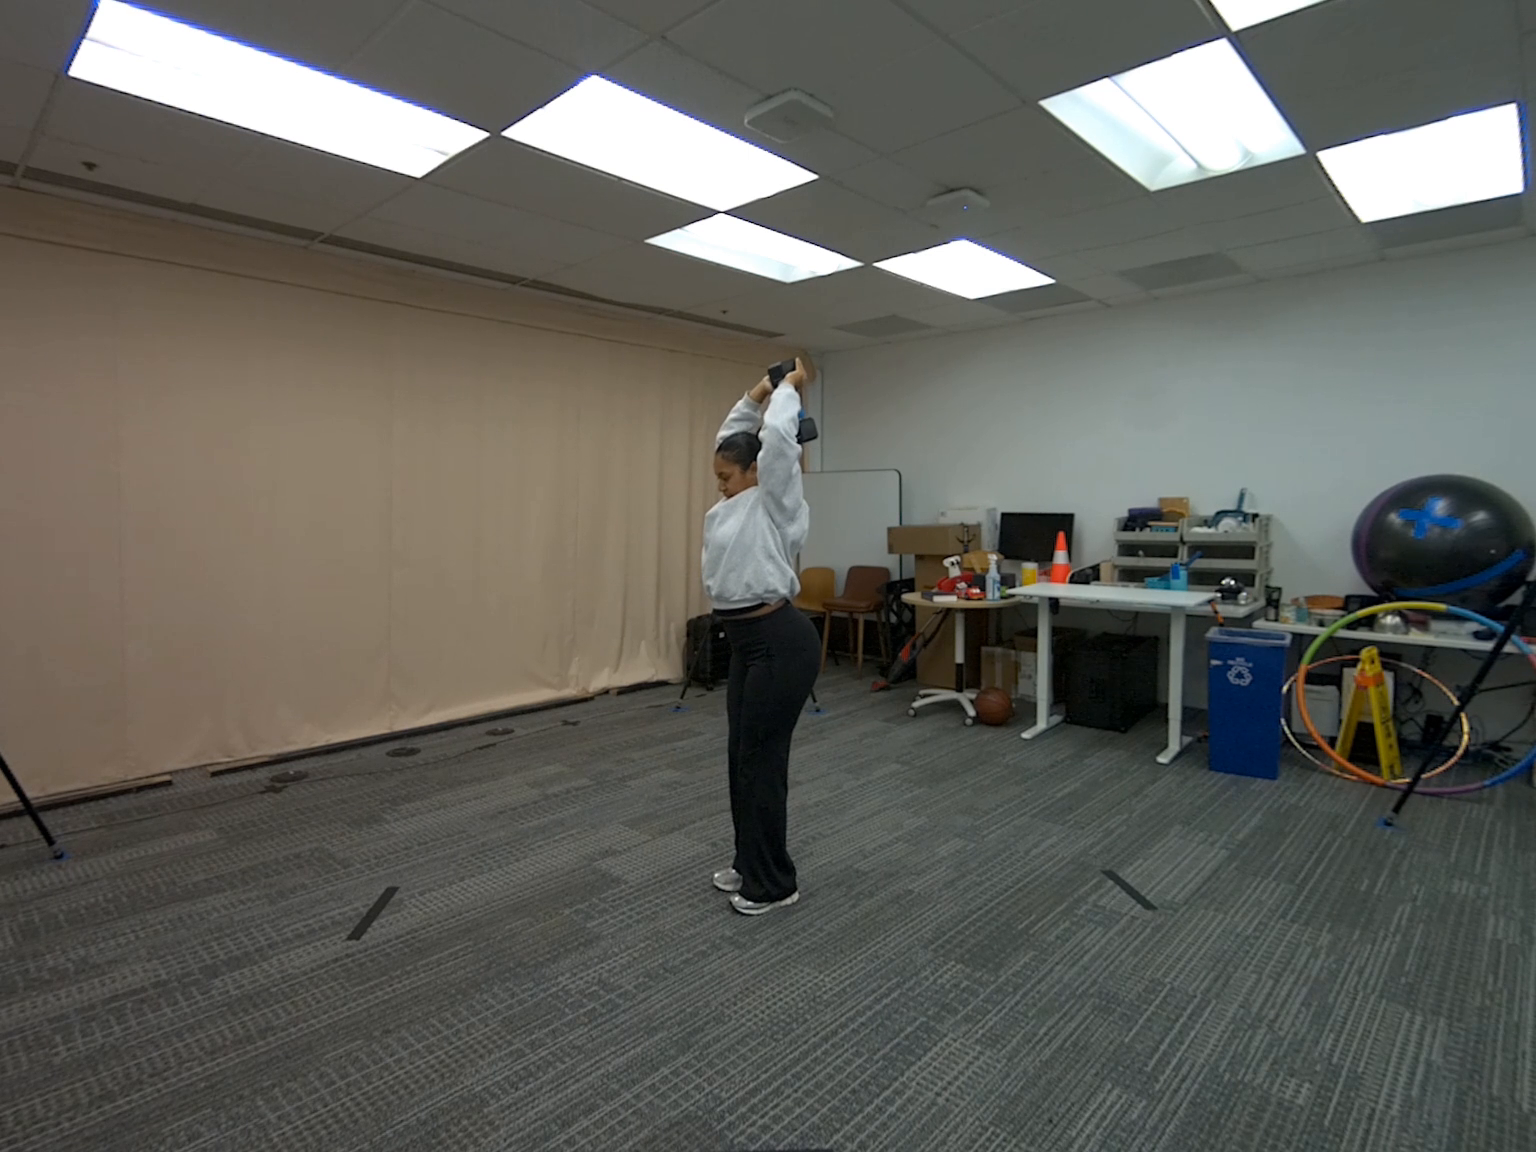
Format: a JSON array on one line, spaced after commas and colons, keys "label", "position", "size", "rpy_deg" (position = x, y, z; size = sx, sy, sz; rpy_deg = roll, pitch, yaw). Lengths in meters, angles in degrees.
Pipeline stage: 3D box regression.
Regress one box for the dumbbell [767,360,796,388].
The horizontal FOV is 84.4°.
[{"label": "dumbbell", "position": [0.096, -0.606, 2.959], "size": [0.126, 0.291, 0.107], "rpy_deg": [-14, 11, 35]}]
